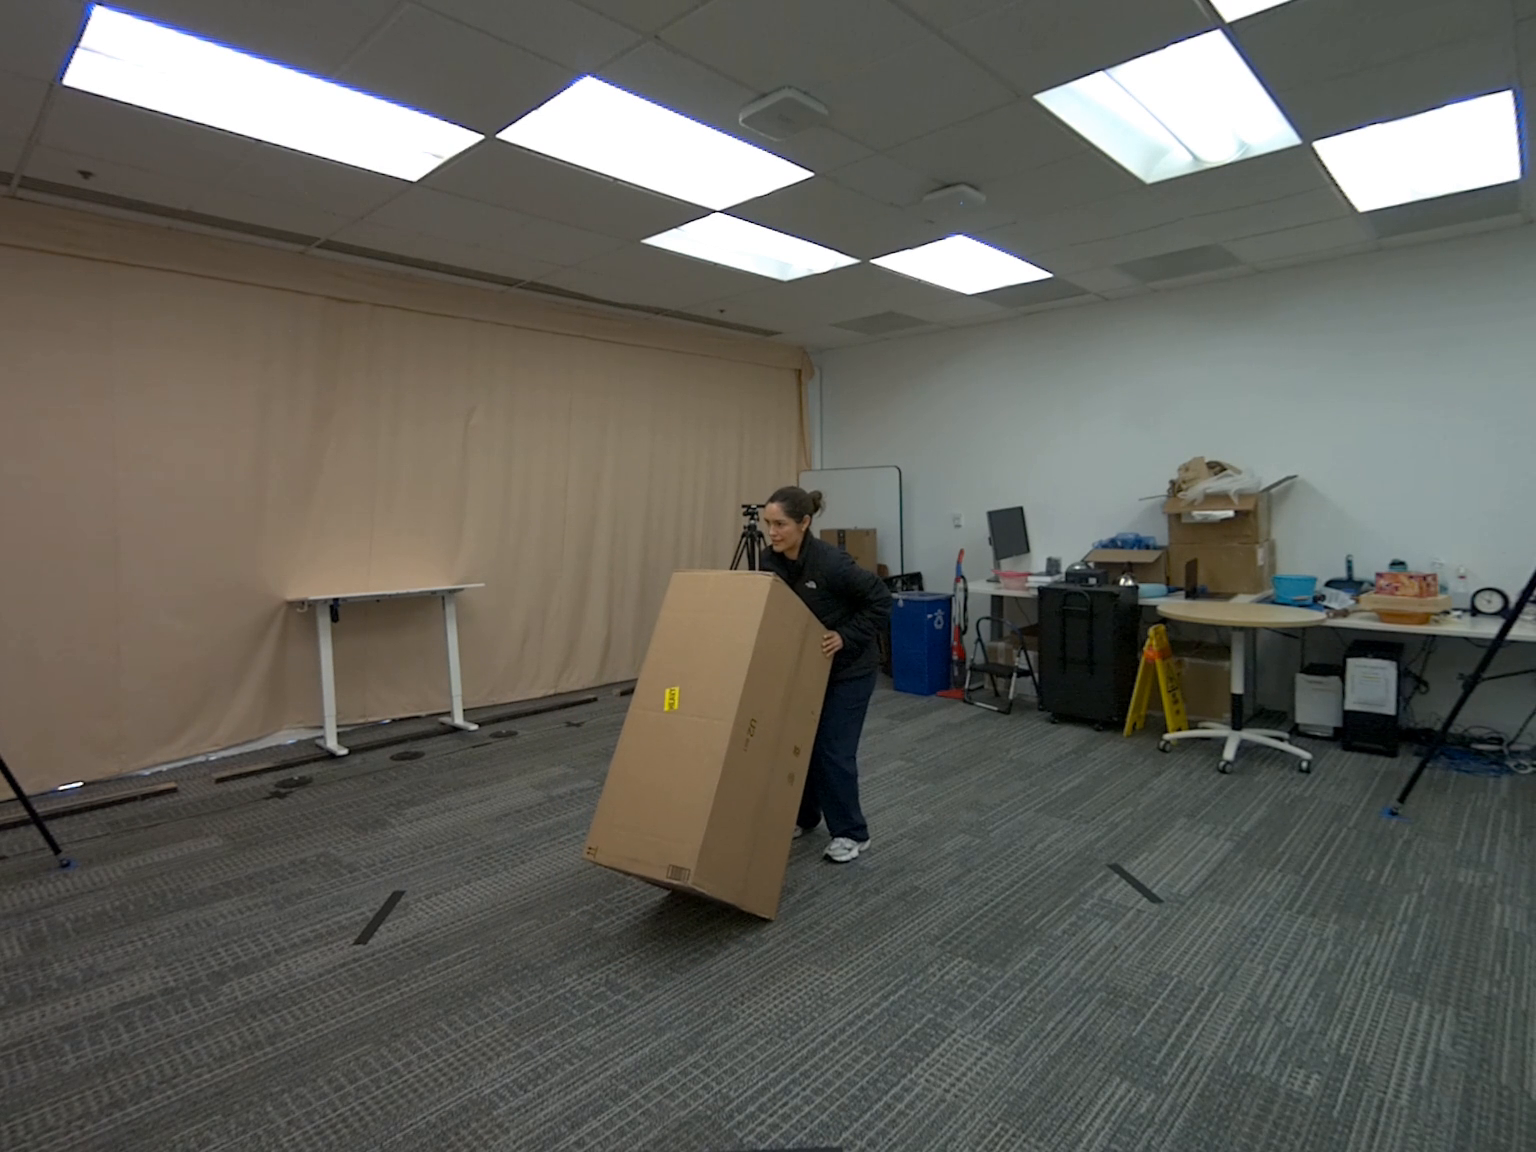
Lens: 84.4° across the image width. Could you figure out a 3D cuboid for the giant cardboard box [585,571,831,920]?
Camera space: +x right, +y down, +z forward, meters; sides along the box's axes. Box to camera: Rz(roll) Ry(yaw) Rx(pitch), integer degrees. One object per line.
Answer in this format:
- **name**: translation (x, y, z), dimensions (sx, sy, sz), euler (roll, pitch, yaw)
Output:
- **giant cardboard box**: translation (-0.152, 0.566, 2.938), dimensions (0.460, 1.034, 0.563), euler (-1, -29, 31)
